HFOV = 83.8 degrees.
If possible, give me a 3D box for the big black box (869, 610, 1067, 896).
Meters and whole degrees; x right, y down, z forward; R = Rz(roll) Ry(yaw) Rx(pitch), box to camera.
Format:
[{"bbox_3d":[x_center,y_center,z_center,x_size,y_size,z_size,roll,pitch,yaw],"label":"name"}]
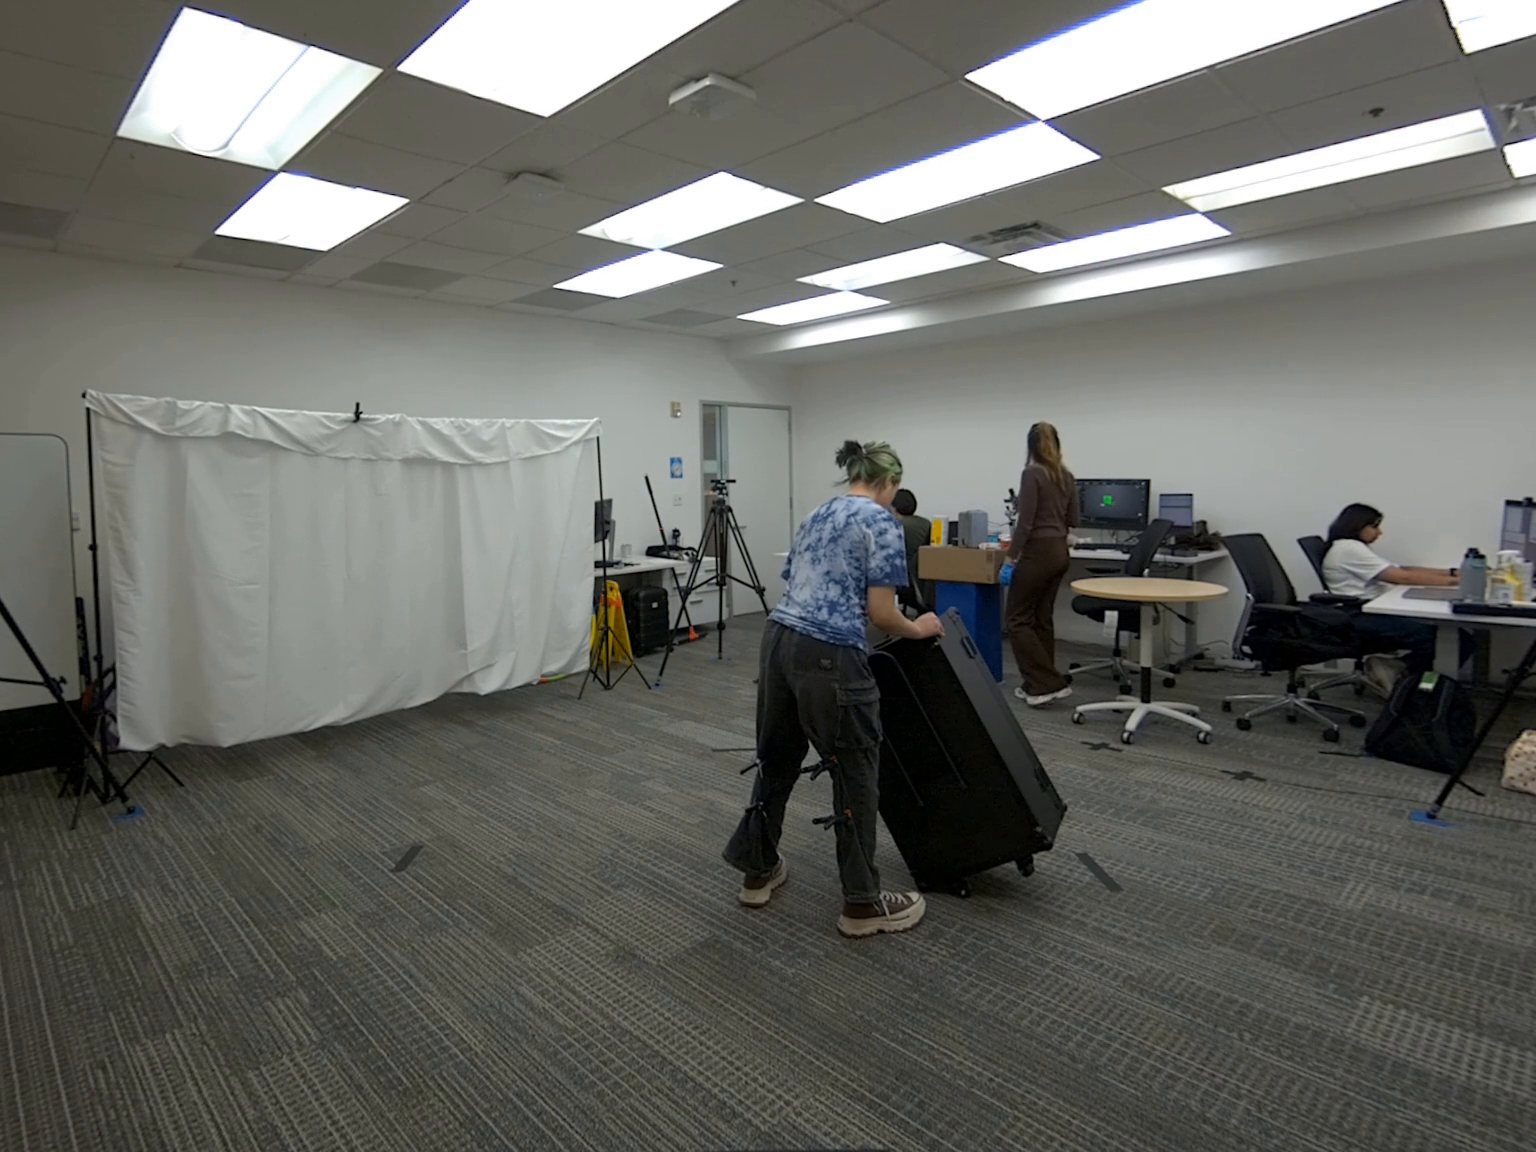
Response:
[{"bbox_3d":[0.610,0.620,2.972,0.525,0.872,0.388,-32,-11,27],"label":"big black box"}]
